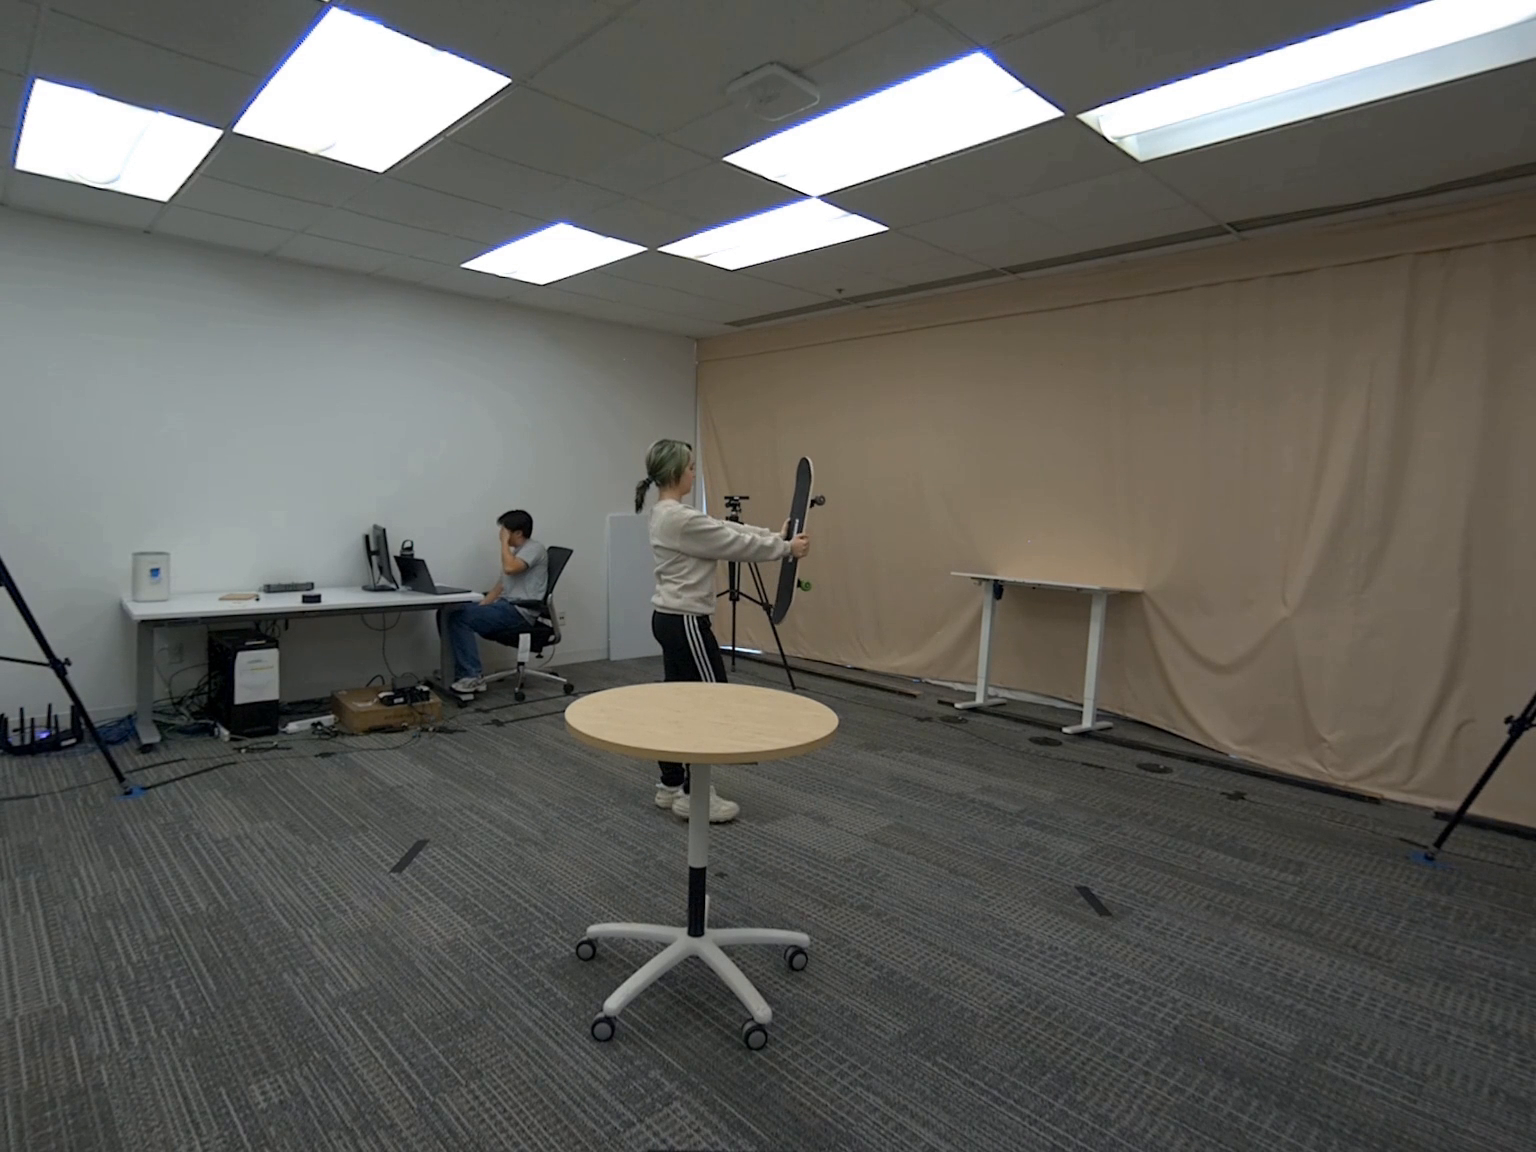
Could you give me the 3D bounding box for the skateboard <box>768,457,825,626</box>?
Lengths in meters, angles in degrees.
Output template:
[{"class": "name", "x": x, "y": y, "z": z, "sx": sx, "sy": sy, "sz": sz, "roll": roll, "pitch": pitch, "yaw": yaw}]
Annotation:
[{"class": "skateboard", "x": 0.138, "y": -0.158, "z": 3.891, "sx": 0.108, "sy": 0.788, "sz": 0.196, "roll": 12, "pitch": -6, "yaw": -22}]
